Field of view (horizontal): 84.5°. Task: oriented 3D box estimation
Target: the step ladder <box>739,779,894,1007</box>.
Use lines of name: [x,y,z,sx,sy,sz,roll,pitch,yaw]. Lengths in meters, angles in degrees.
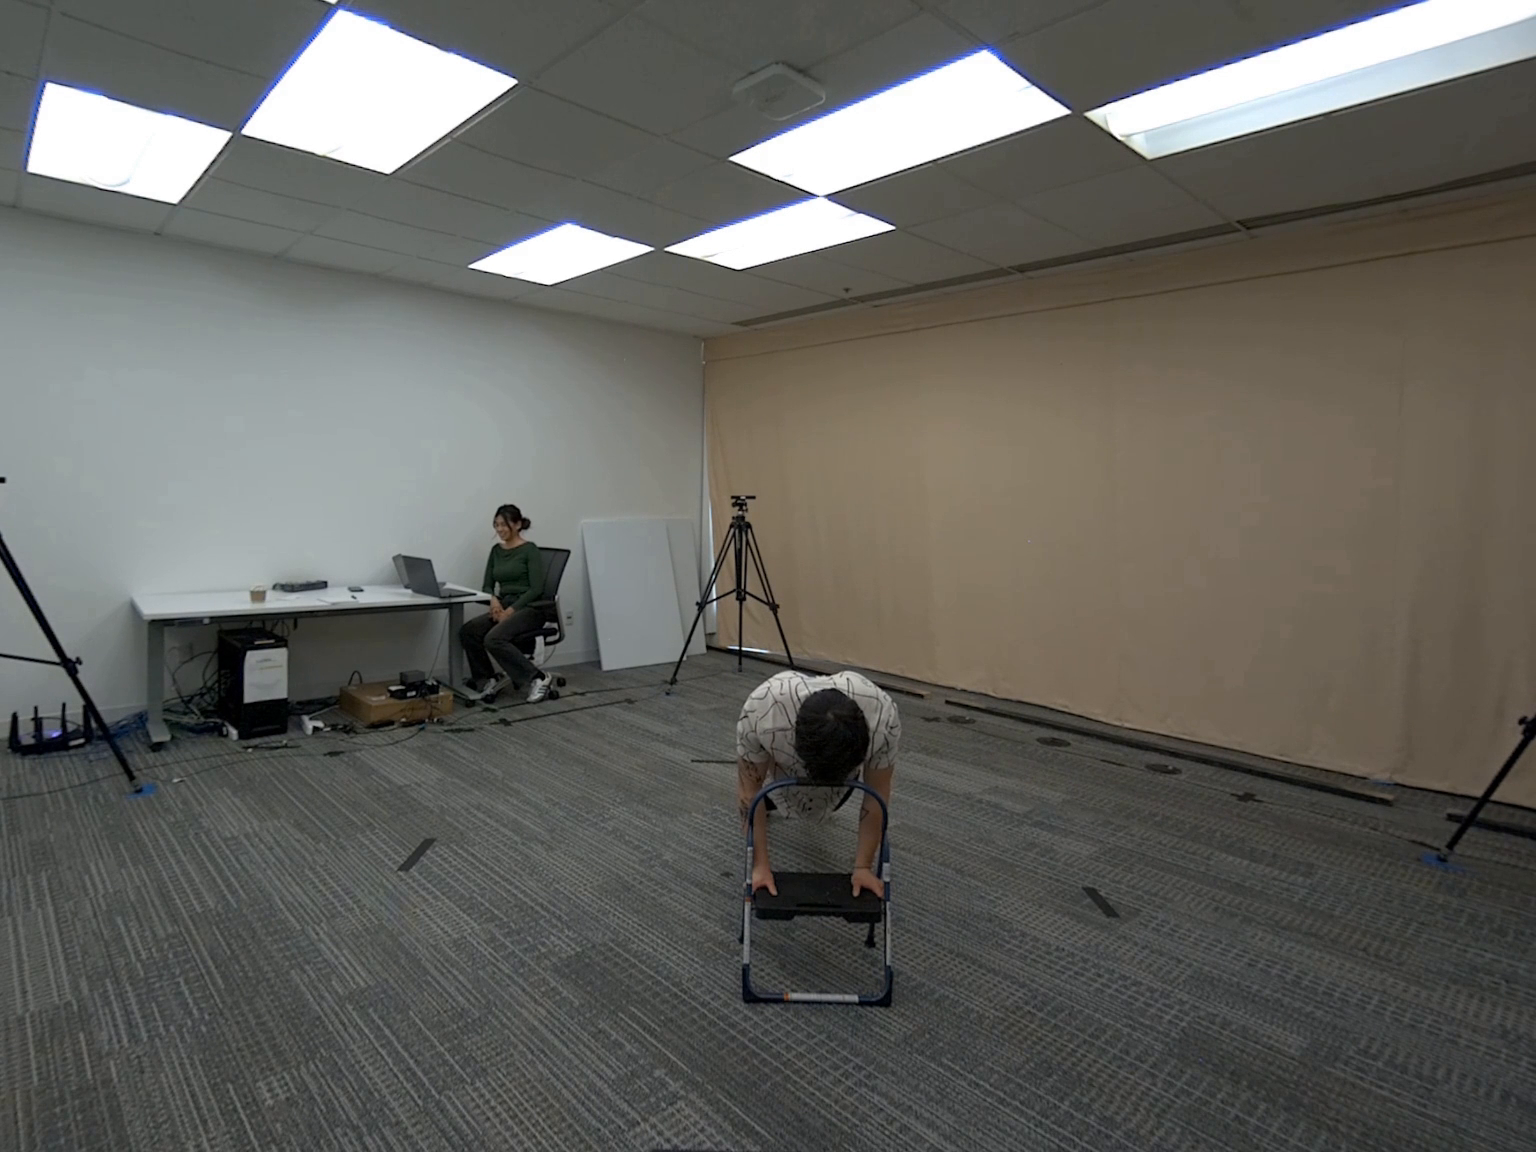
step ladder: [0.129,0.872,2.465,0.430,0.605,0.350,1,3,-2]
